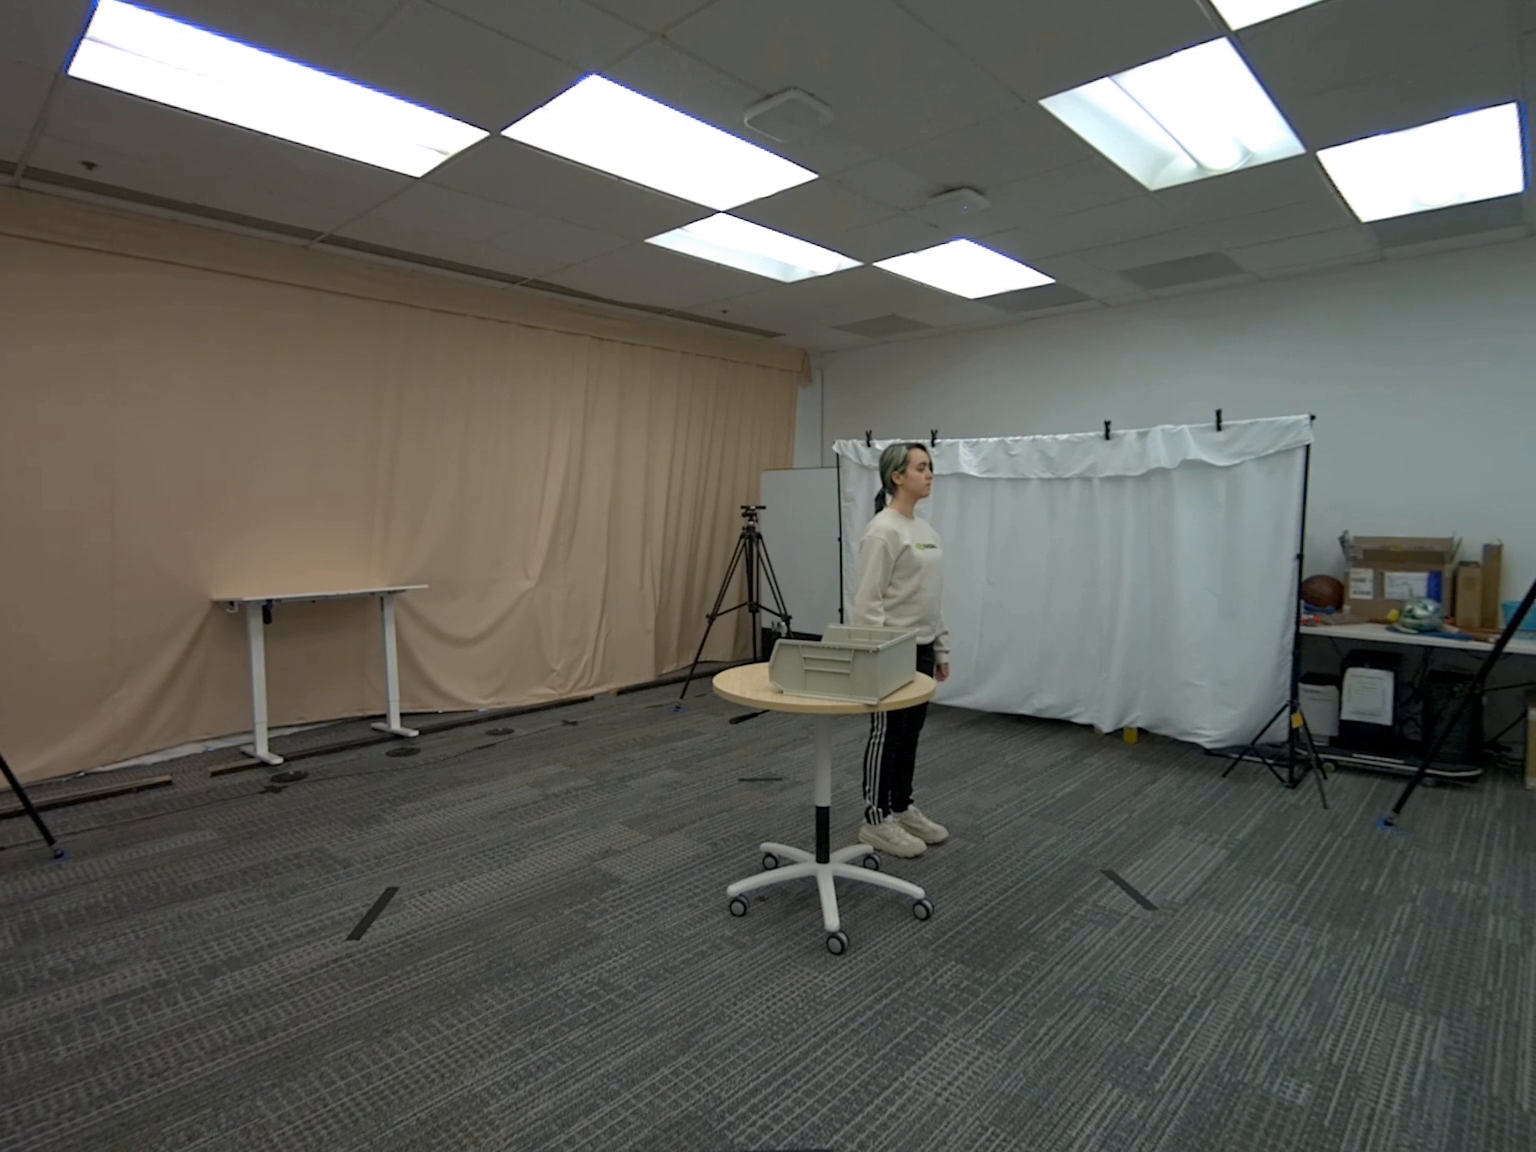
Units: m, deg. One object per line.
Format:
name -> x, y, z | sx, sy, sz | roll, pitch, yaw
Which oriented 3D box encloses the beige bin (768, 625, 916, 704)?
beige bin -> 0.263, 0.284, 2.803 | 0.388, 0.188, 0.411 | 3, 5, 28
